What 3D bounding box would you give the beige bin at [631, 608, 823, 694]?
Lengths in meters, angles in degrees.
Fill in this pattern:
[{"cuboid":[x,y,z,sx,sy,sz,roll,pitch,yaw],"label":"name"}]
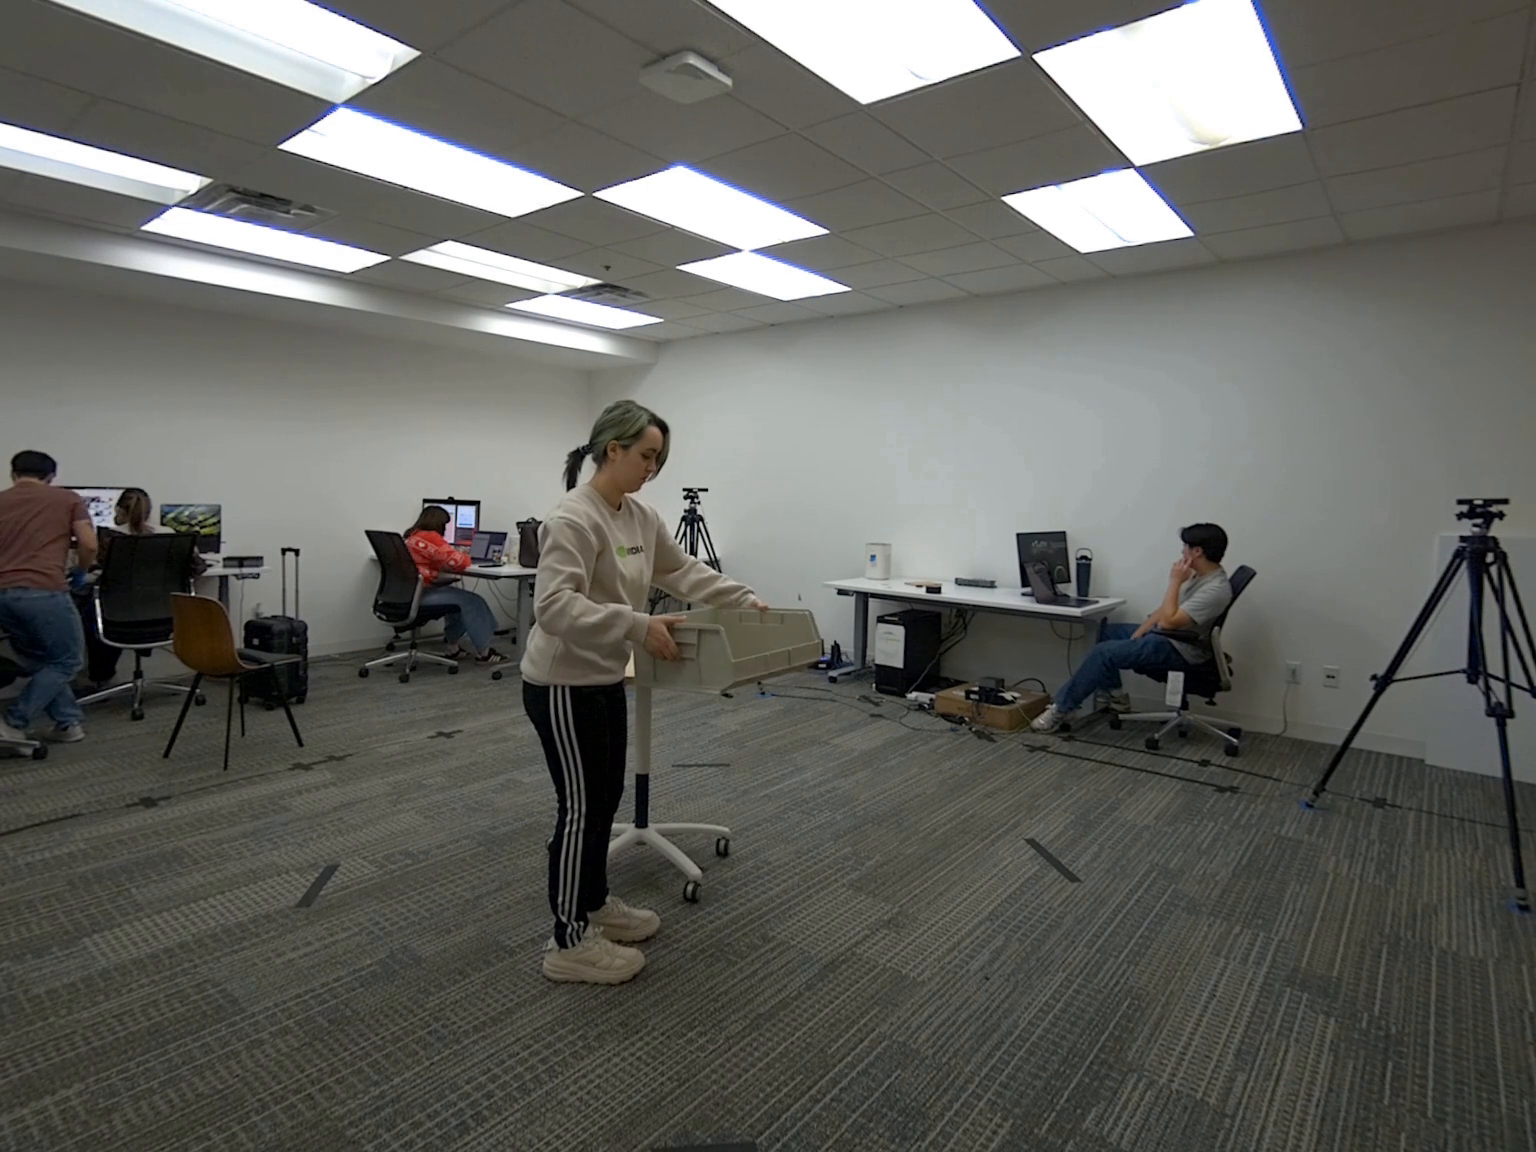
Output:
[{"cuboid":[-0.124,0.200,2.390,0.389,0.189,0.410,-1,3,38],"label":"beige bin"}]
